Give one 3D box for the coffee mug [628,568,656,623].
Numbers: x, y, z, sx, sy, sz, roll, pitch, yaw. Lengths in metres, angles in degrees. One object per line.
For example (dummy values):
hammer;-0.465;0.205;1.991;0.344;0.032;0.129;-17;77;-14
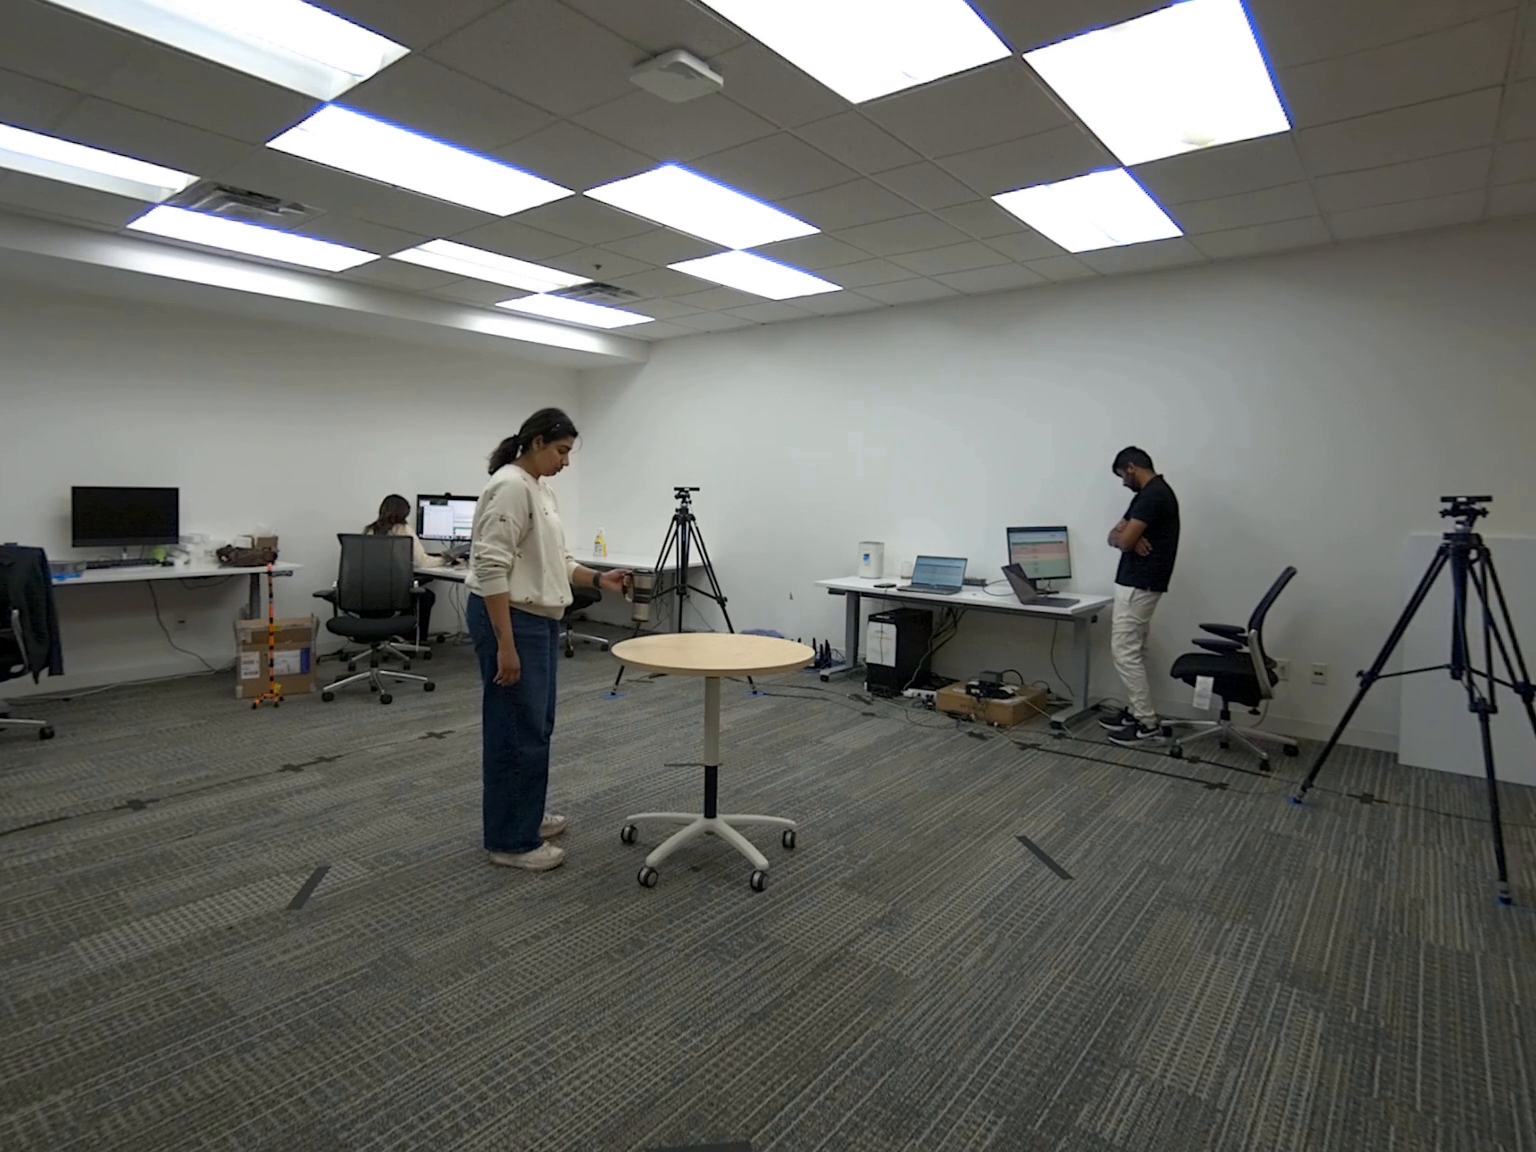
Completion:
coffee mug;-0.518;0.079;3.321;0.126;0.202;0.085;6;4;44
